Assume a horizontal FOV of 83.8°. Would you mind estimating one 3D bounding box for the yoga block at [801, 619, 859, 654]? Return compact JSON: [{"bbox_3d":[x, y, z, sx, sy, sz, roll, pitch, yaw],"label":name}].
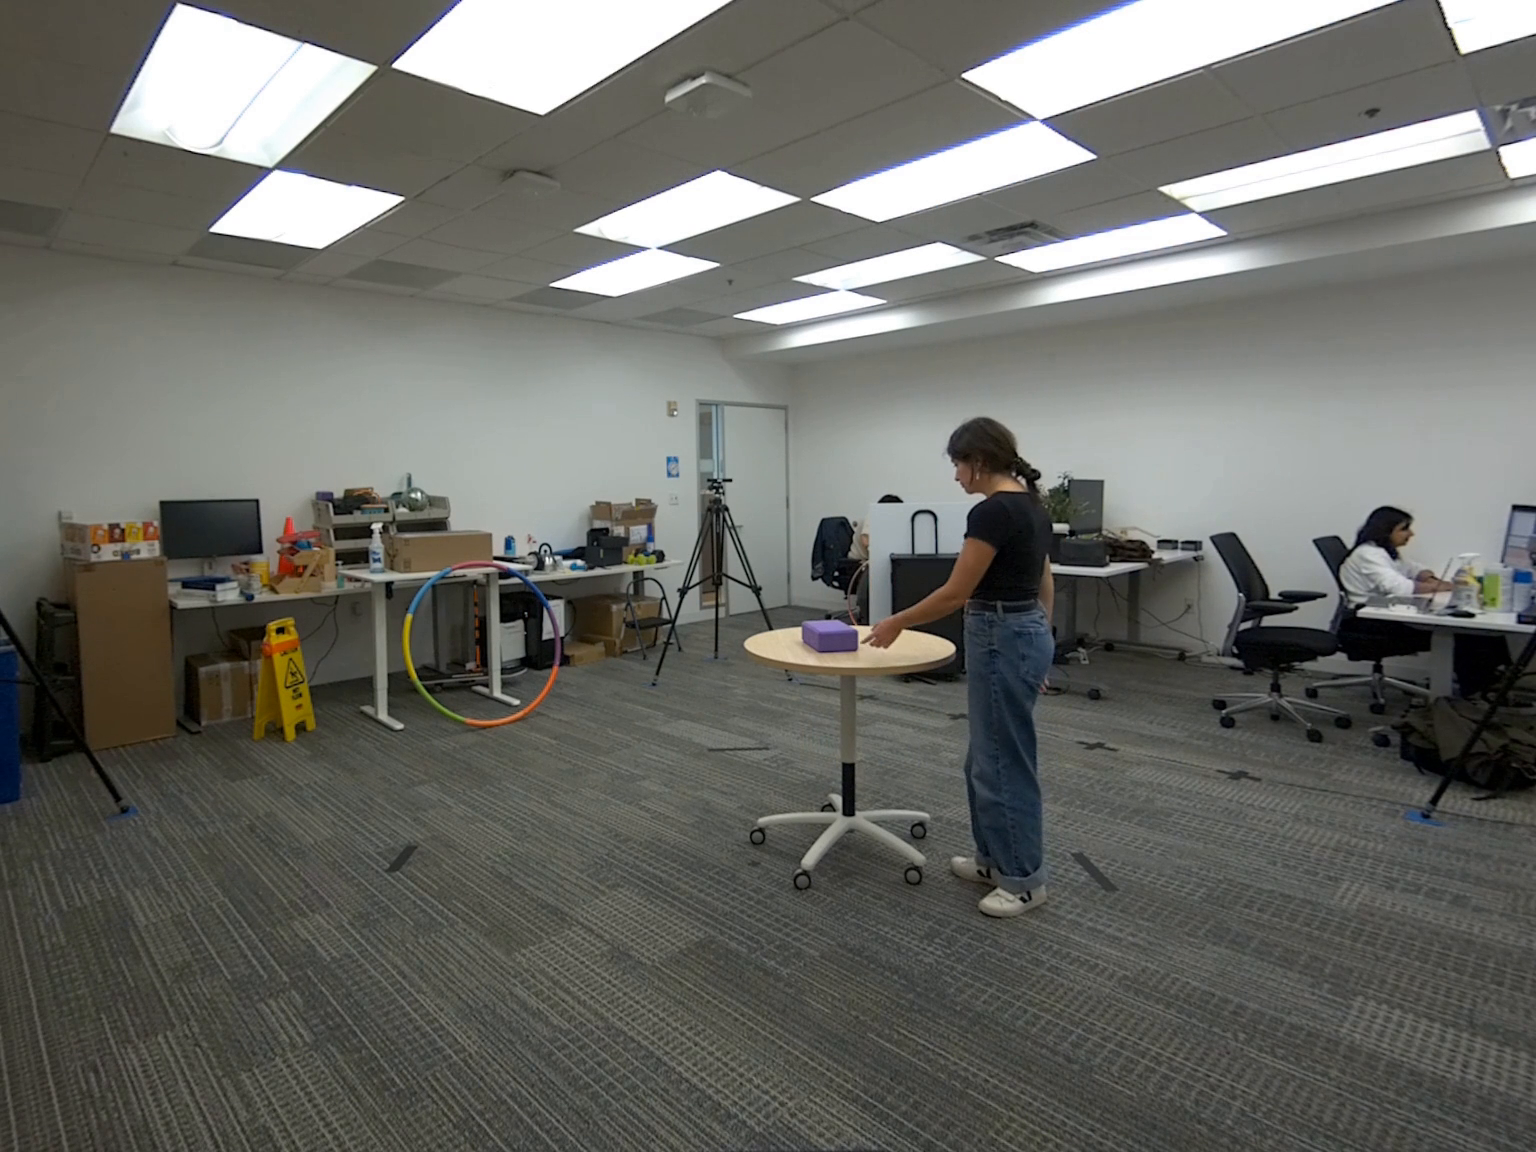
[{"bbox_3d":[0.225,0.221,3.107,0.148,0.076,0.232,-1,6,-10],"label":"yoga block"}]
